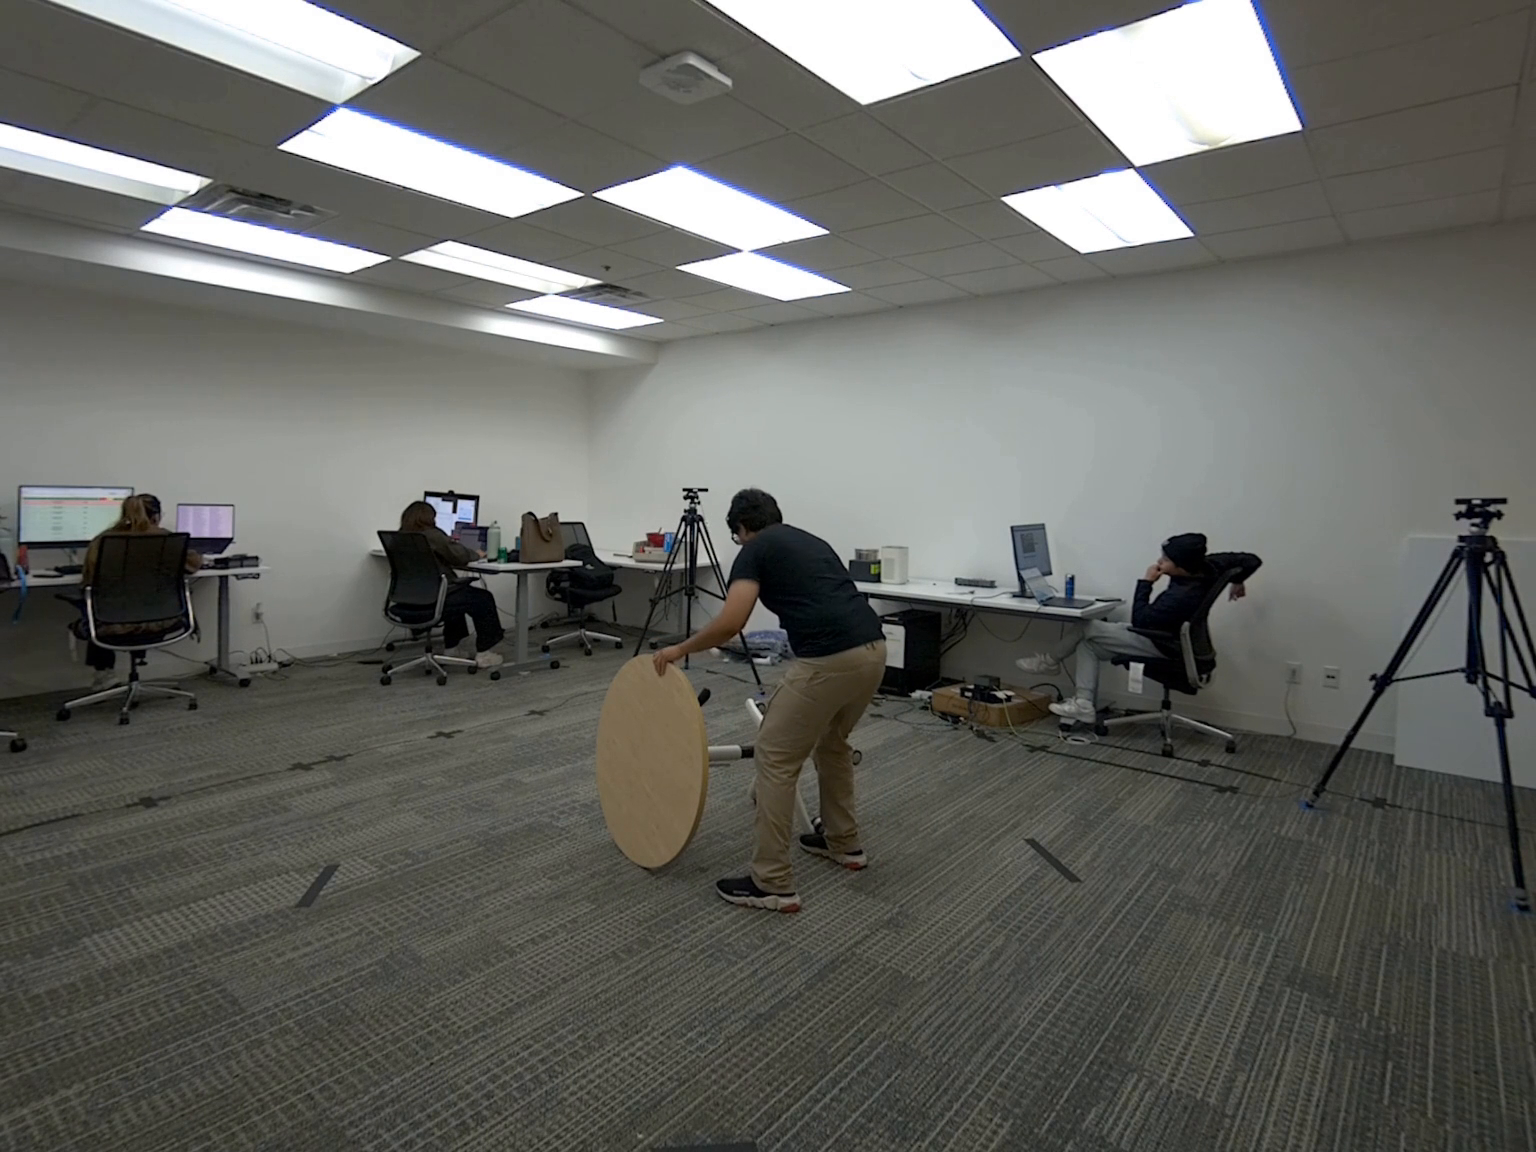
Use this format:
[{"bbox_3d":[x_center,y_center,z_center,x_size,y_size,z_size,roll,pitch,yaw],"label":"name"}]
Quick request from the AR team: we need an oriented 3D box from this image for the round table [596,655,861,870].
[{"bbox_3d":[-0.172,0.708,3.406,0.760,0.786,0.811,7,-1,-37],"label":"round table"}]
